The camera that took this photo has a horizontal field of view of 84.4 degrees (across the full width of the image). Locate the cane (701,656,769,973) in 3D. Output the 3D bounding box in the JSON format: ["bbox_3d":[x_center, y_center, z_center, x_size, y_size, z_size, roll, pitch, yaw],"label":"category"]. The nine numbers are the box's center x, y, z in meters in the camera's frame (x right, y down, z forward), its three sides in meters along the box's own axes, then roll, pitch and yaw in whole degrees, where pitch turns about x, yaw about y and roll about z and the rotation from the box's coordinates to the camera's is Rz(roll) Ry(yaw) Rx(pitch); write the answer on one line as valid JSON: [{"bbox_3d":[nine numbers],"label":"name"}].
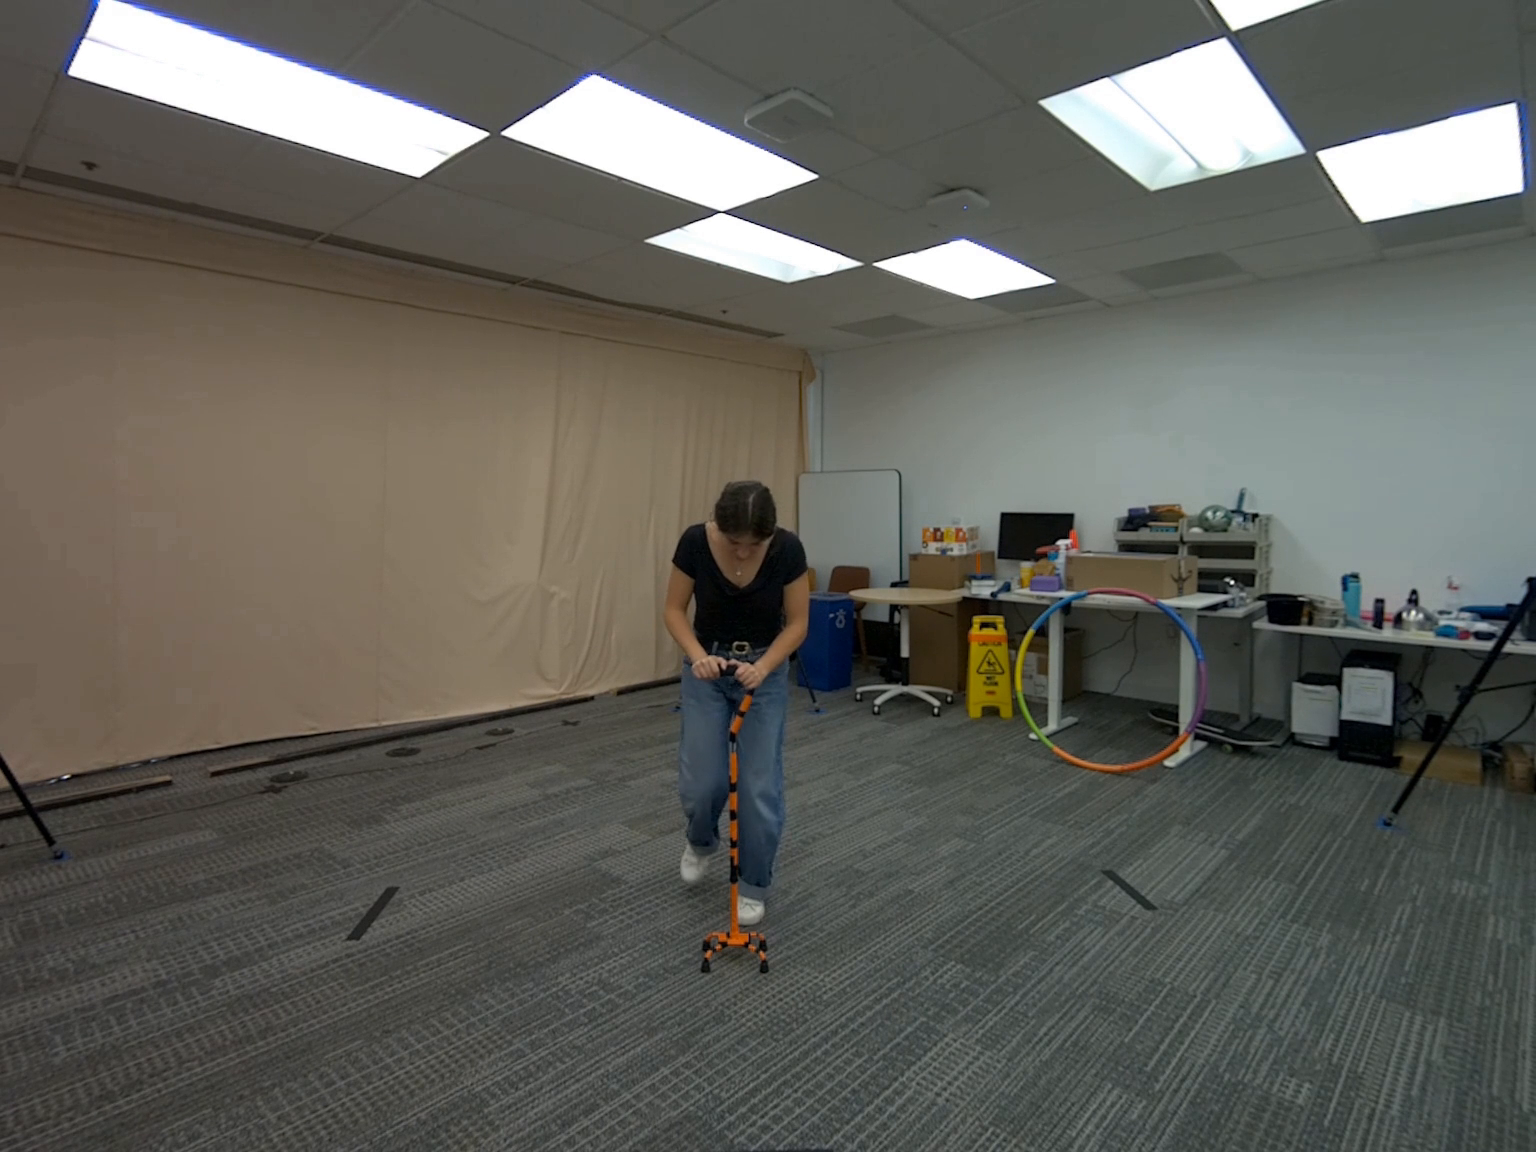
[{"bbox_3d":[-0.099,0.719,2.559,0.206,0.906,0.152,0,3,-1],"label":"cane"}]
